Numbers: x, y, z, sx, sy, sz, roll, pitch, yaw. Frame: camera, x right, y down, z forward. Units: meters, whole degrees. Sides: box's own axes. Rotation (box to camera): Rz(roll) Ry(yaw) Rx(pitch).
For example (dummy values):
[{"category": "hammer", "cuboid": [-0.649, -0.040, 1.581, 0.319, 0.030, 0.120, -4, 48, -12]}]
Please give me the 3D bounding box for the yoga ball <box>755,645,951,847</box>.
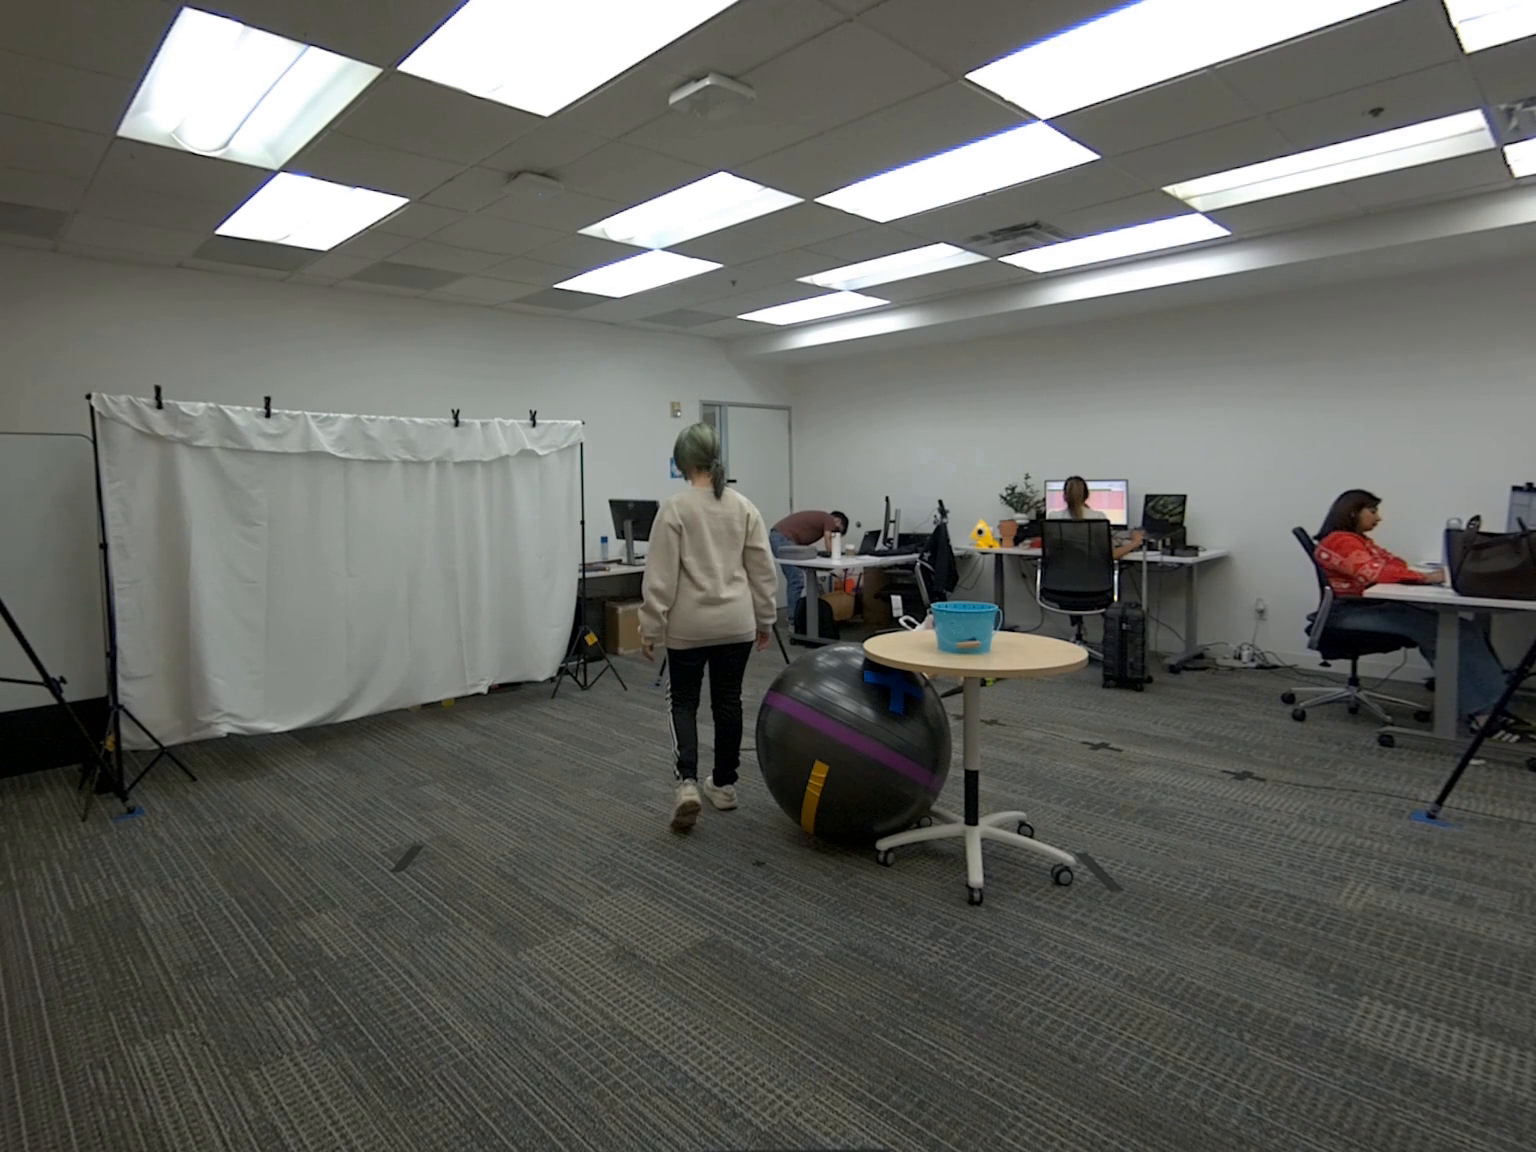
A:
[{"category": "yoga ball", "cuboid": [0.338, 0.652, 3.340, 0.757, 0.755, 0.762, -1, 5, -2]}]
